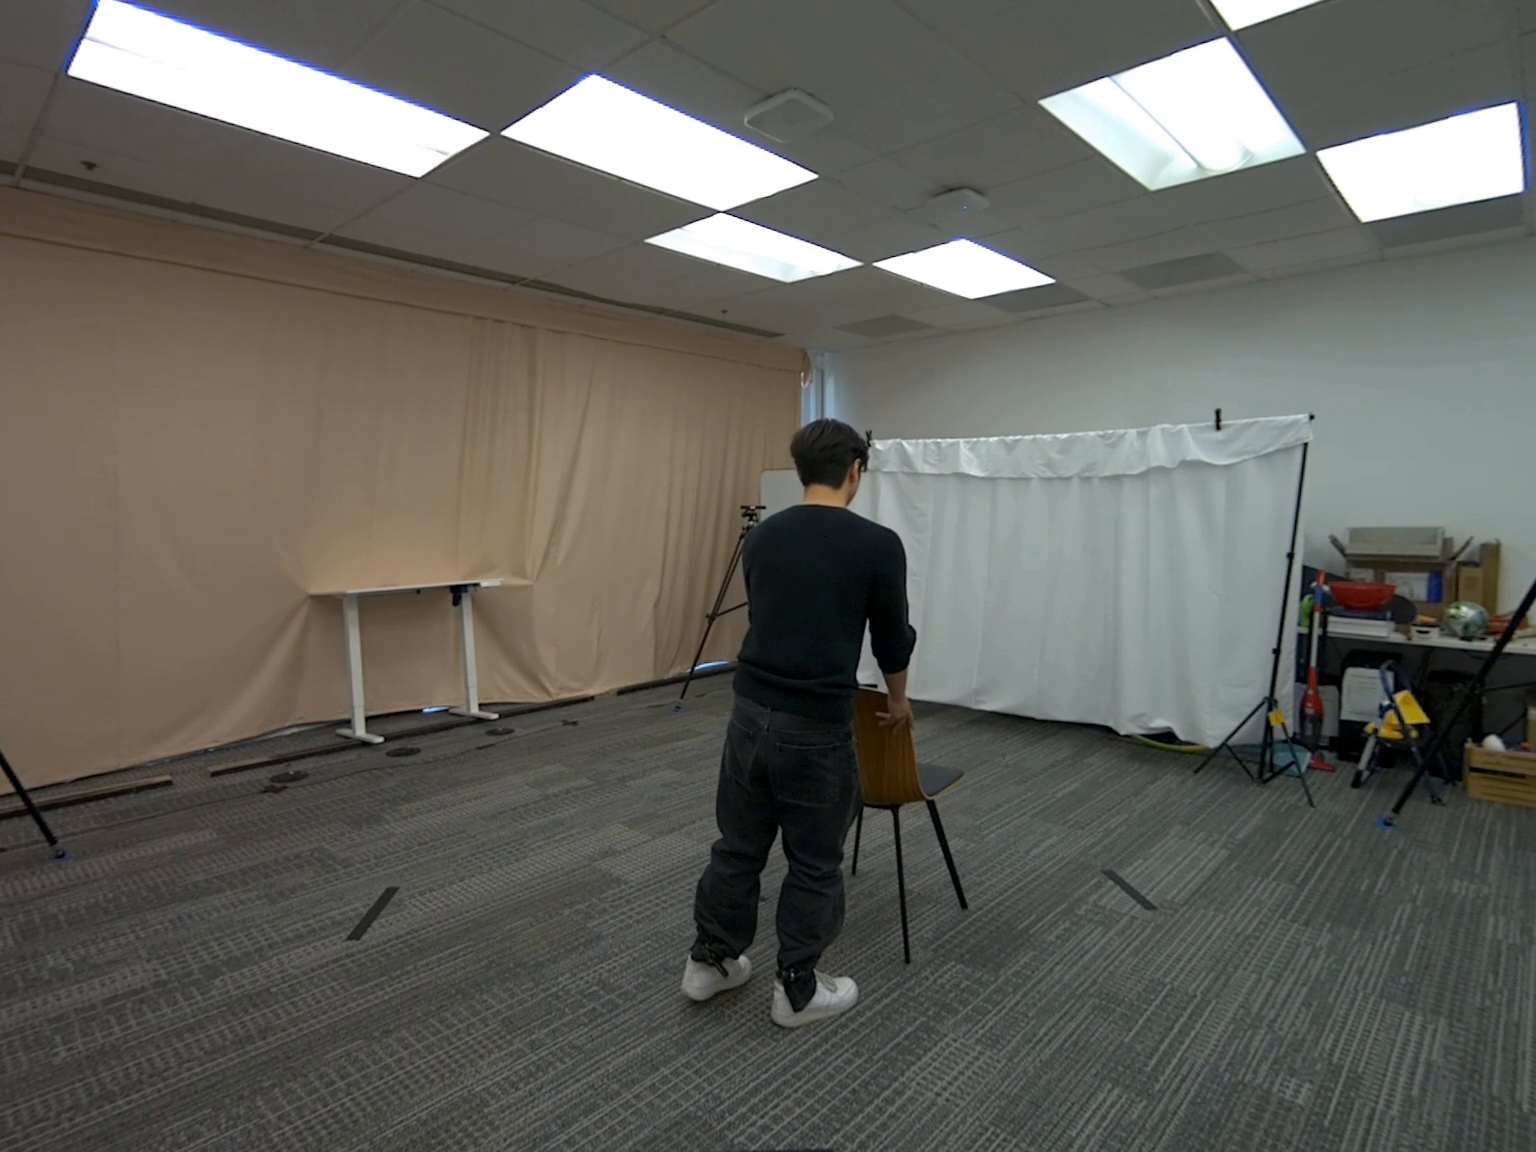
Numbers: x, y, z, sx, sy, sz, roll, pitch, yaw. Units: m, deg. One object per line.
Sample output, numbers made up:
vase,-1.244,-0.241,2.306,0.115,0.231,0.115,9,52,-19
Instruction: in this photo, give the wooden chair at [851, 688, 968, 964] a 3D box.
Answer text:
wooden chair,0.380,0.722,2.844,0.493,0.873,0.509,2,9,37
